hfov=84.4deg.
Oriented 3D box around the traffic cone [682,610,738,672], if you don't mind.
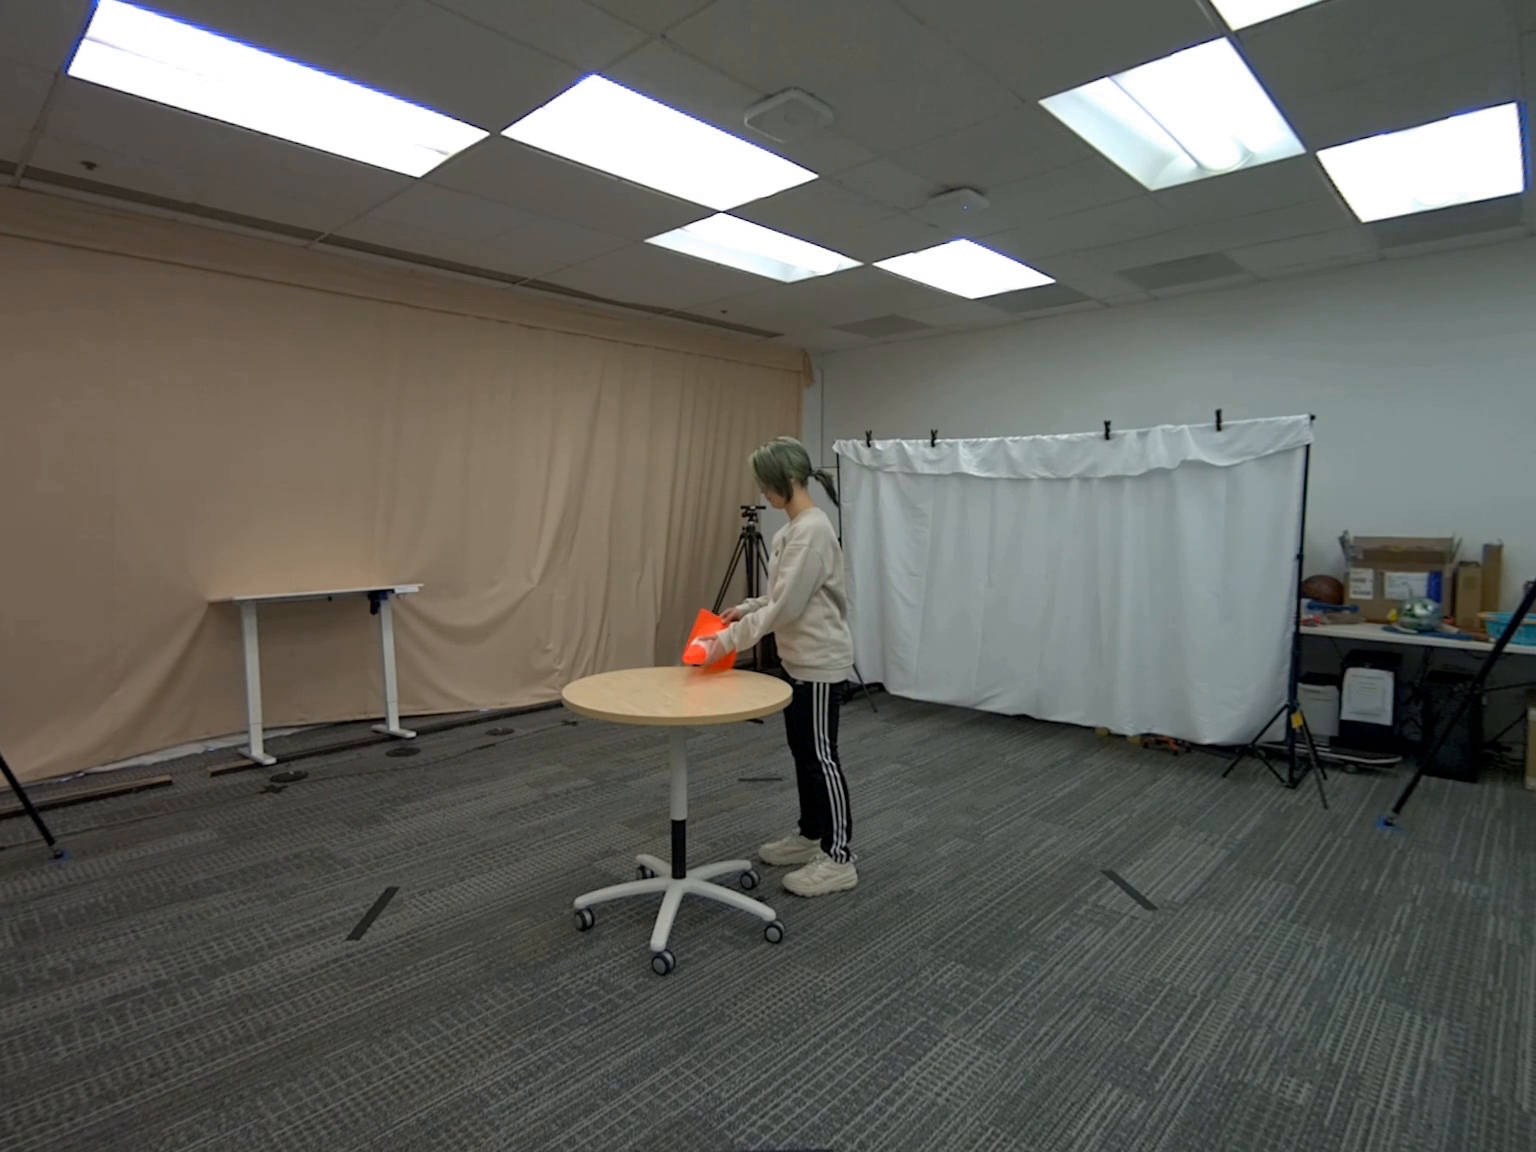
[{"bbox_3d":[-0.247,0.269,3.056,0.208,0.203,0.378,27,10,11],"label":"traffic cone"}]
